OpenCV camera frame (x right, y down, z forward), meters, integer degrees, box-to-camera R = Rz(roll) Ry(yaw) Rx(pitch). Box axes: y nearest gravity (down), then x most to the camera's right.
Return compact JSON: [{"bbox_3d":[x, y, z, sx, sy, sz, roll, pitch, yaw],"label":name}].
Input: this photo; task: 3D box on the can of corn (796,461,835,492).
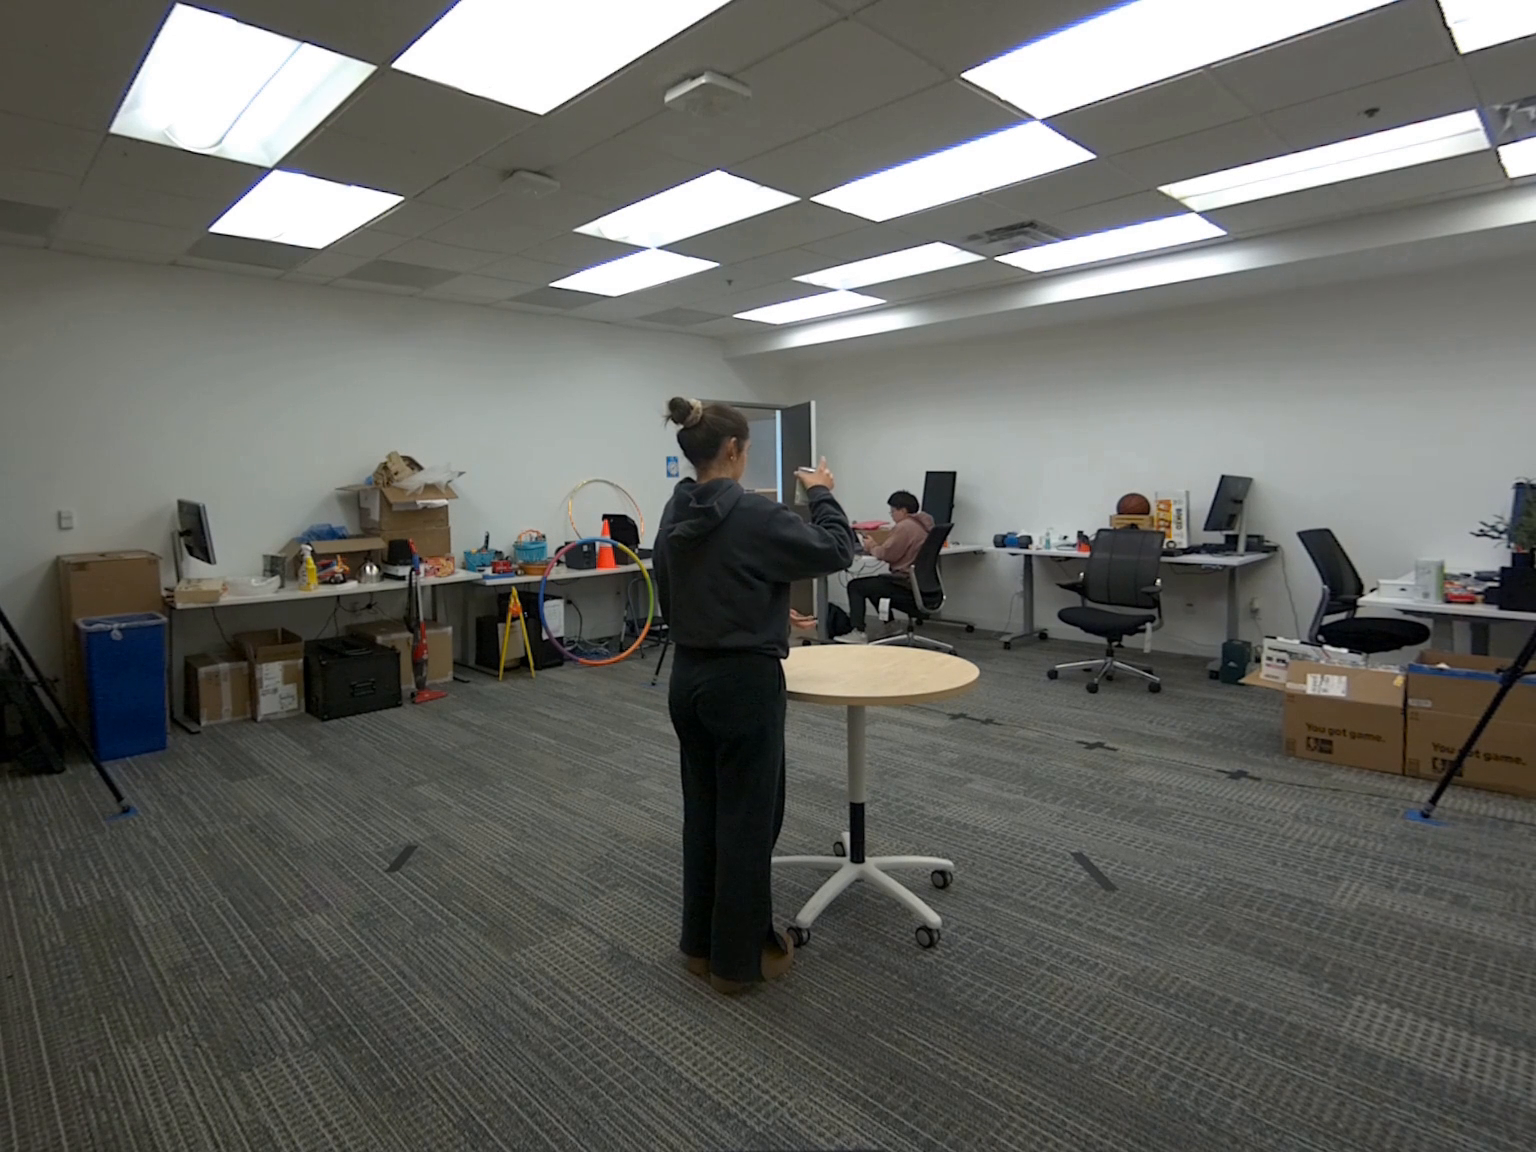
[{"bbox_3d":[0.150,-0.257,2.539,0.074,0.110,0.075,1,7,-2],"label":"can of corn"}]
